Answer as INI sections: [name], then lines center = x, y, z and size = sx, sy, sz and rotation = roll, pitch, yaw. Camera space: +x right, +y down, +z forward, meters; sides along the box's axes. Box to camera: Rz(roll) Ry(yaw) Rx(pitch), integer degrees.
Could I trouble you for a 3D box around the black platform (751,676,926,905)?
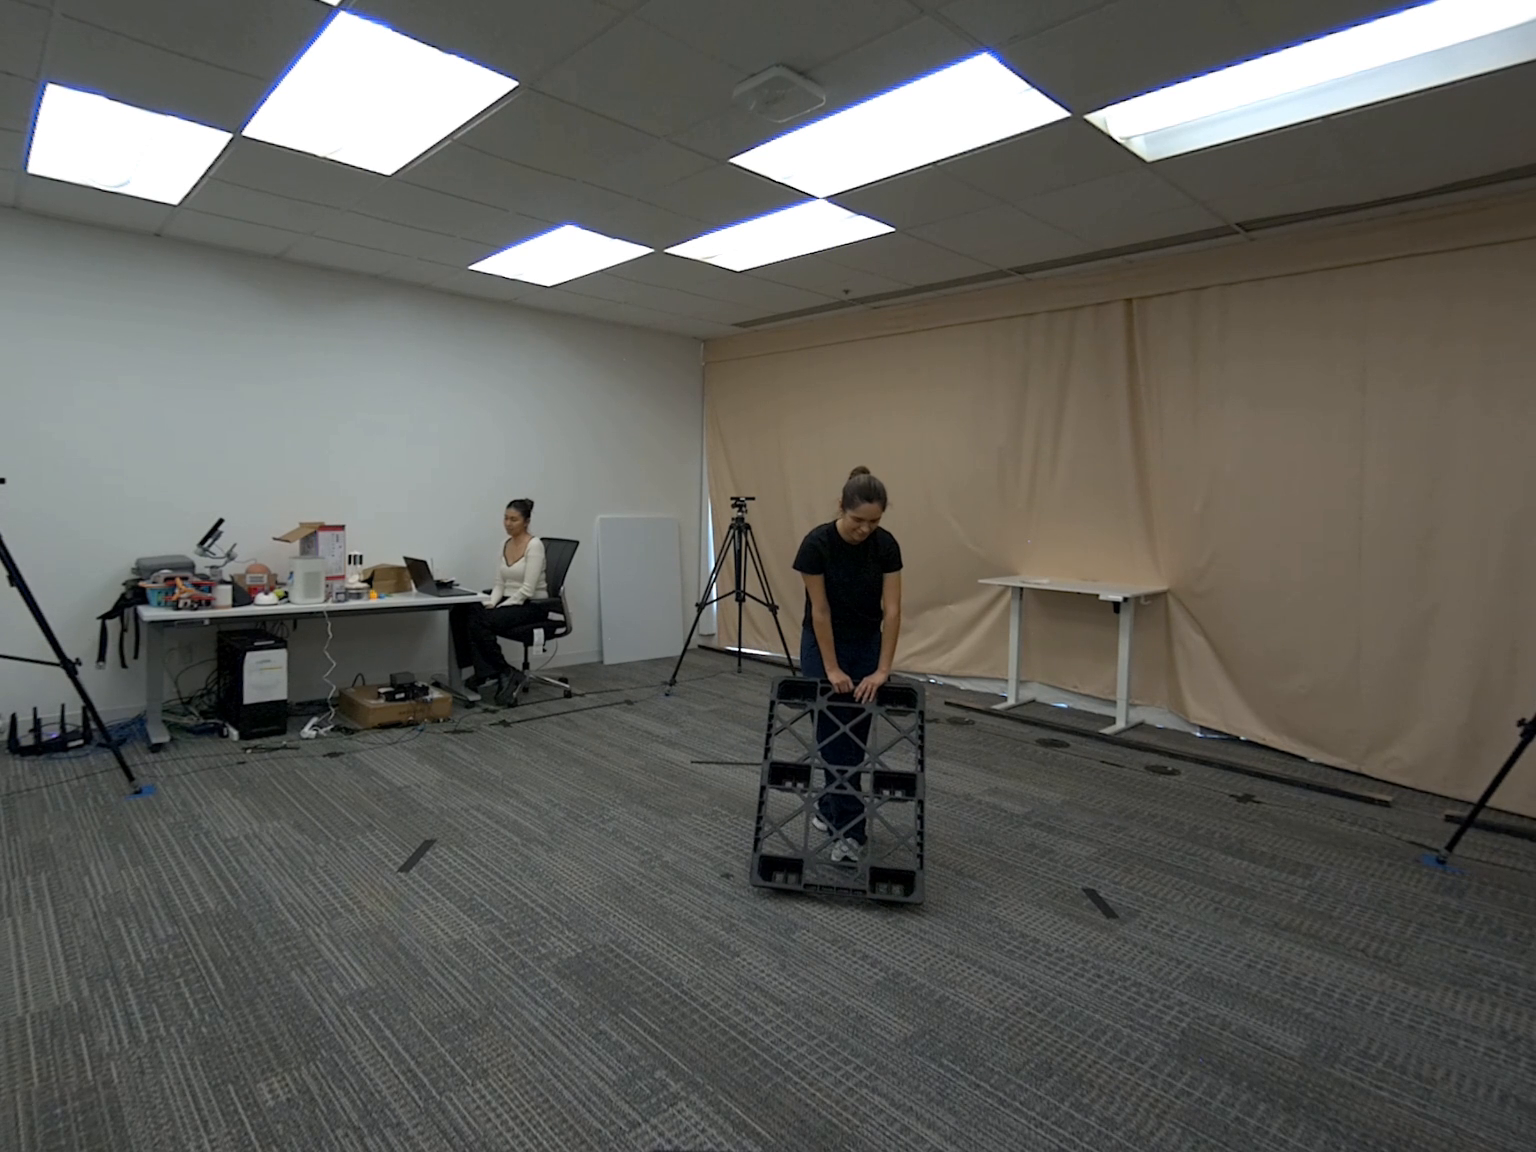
[black platform]
center = 0.271, 0.783, 3.129
size = 0.610, 0.819, 0.140
rotation = 2, -32, 10
